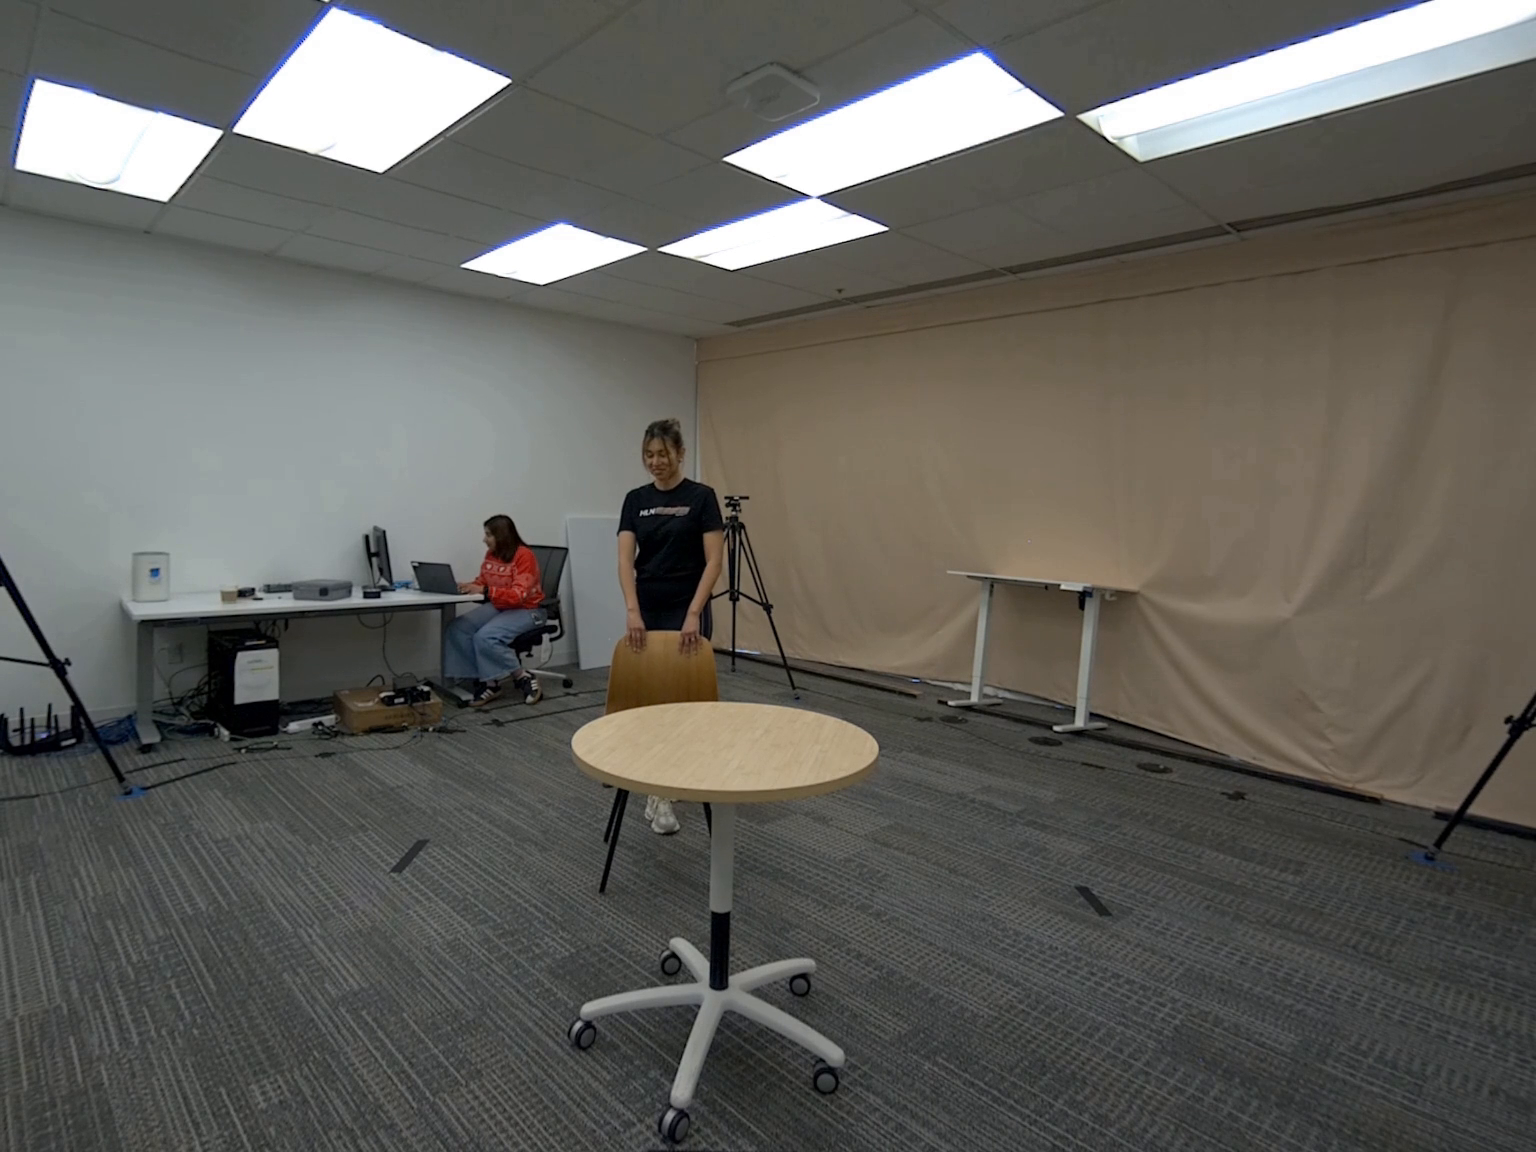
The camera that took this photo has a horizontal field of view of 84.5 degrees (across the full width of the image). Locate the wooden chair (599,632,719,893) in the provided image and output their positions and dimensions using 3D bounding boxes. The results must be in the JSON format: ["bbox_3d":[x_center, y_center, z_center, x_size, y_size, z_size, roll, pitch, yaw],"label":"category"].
[{"bbox_3d":[-0.391,0.672,3.141,0.475,0.878,0.526,2,-1,-9],"label":"wooden chair"}]
